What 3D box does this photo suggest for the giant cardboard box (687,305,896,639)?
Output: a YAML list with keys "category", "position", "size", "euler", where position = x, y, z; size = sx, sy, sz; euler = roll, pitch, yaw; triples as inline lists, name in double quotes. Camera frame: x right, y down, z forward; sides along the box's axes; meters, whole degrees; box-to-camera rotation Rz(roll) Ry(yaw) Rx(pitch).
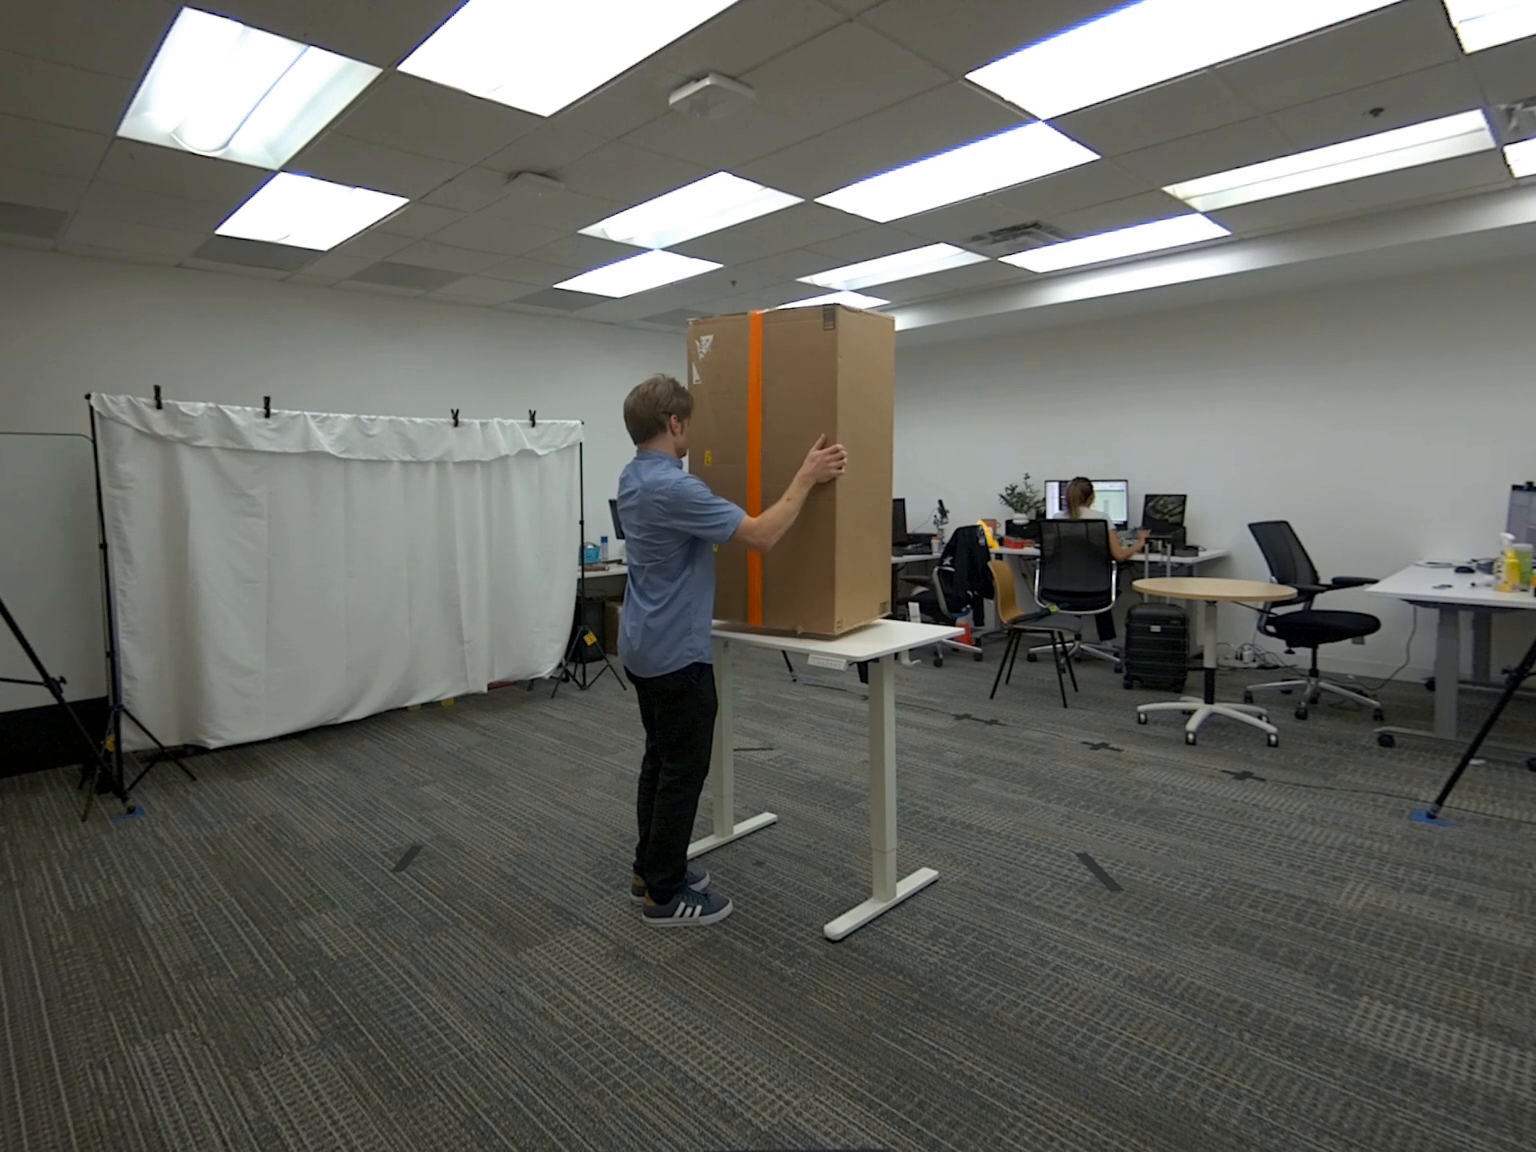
- category: "giant cardboard box"
  position: [0.077, -0.363, 2.935]
  size: [0.594, 1.020, 0.416]
  euler: [4, 8, 34]
